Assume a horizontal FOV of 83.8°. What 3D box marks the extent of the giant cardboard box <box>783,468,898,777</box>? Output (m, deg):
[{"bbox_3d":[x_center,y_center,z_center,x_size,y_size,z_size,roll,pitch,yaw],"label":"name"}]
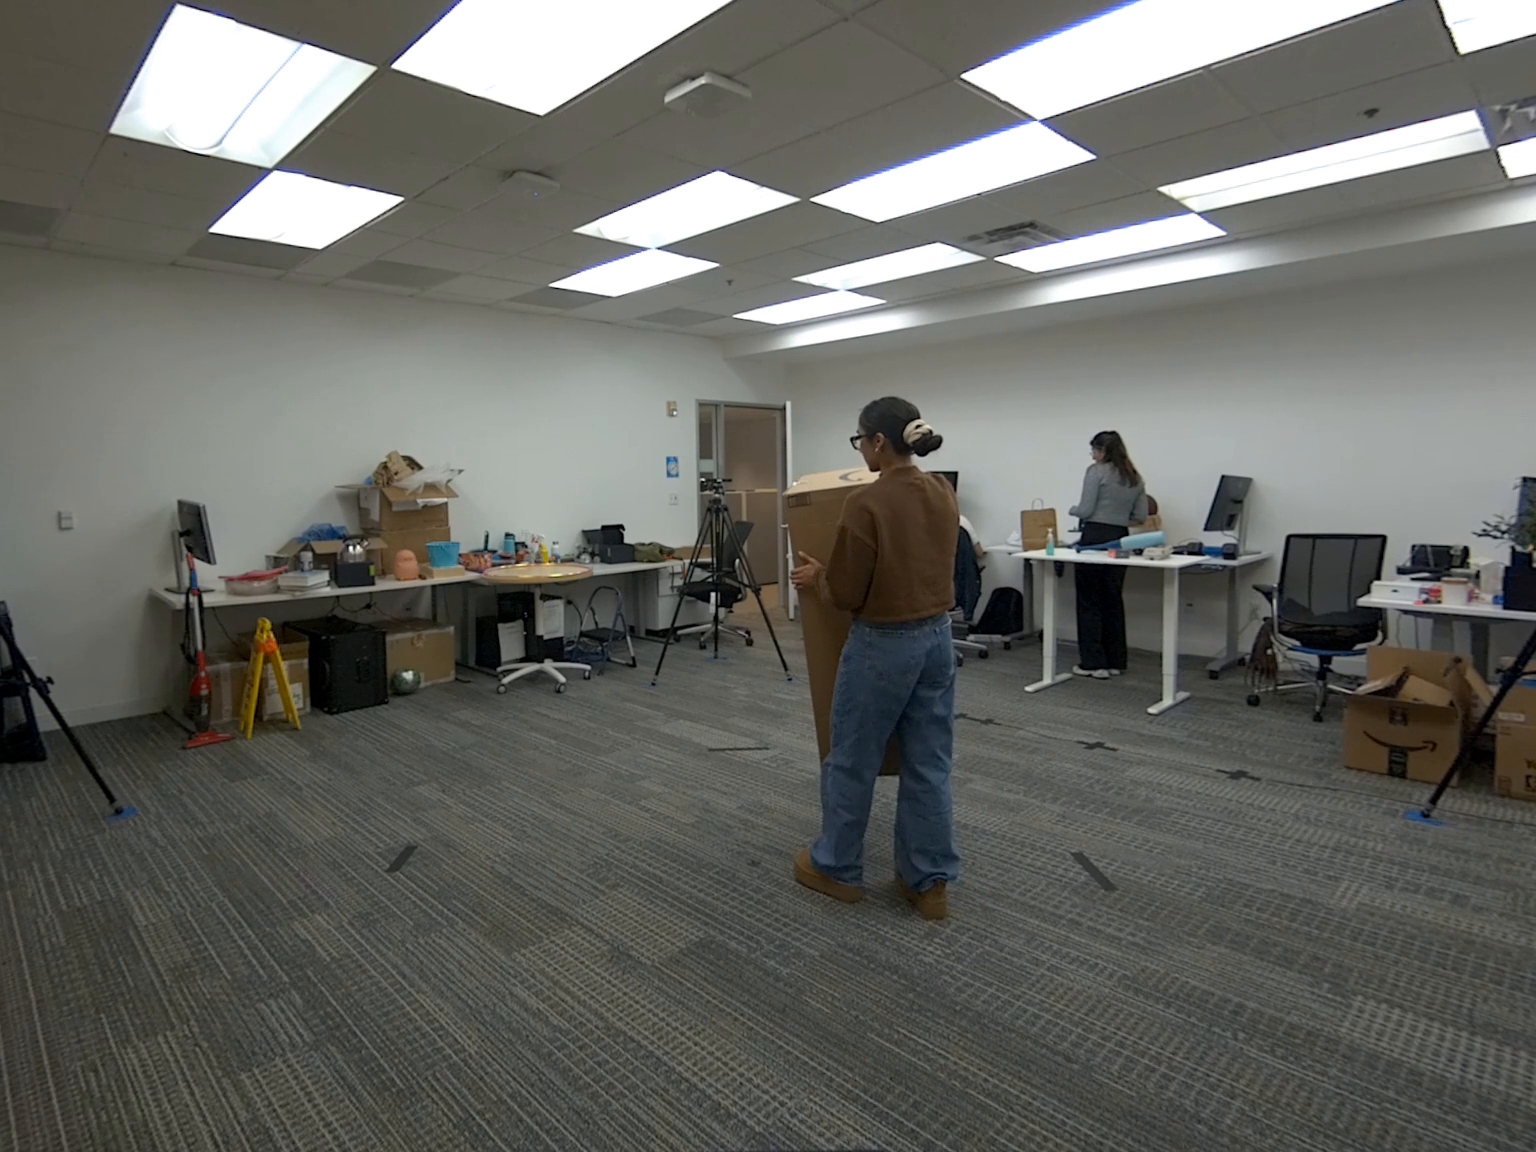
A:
[{"bbox_3d":[0.373,0.139,3.171,0.431,1.017,0.576,-6,9,11],"label":"giant cardboard box"}]
